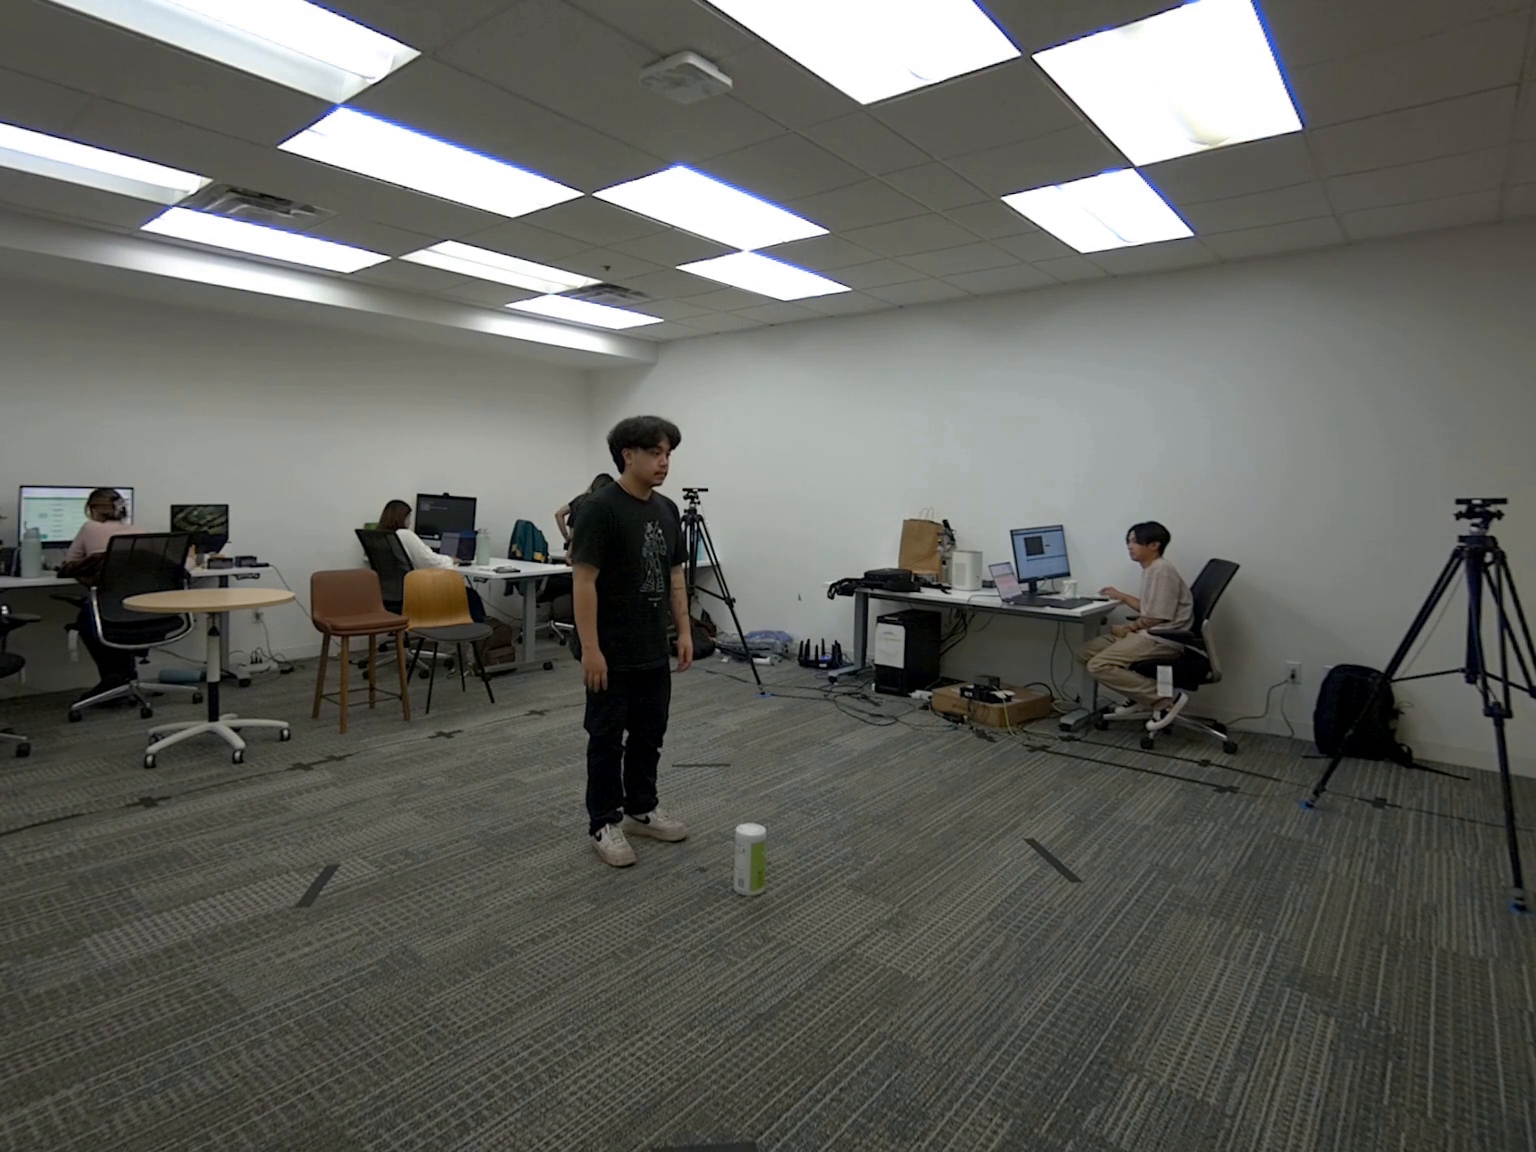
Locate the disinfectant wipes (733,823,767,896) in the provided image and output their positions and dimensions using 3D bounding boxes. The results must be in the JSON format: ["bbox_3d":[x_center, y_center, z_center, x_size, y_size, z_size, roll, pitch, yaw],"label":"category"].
[{"bbox_3d":[-0.068,0.983,2.954,0.117,0.217,0.118,2,3,-2],"label":"disinfectant wipes"}]
